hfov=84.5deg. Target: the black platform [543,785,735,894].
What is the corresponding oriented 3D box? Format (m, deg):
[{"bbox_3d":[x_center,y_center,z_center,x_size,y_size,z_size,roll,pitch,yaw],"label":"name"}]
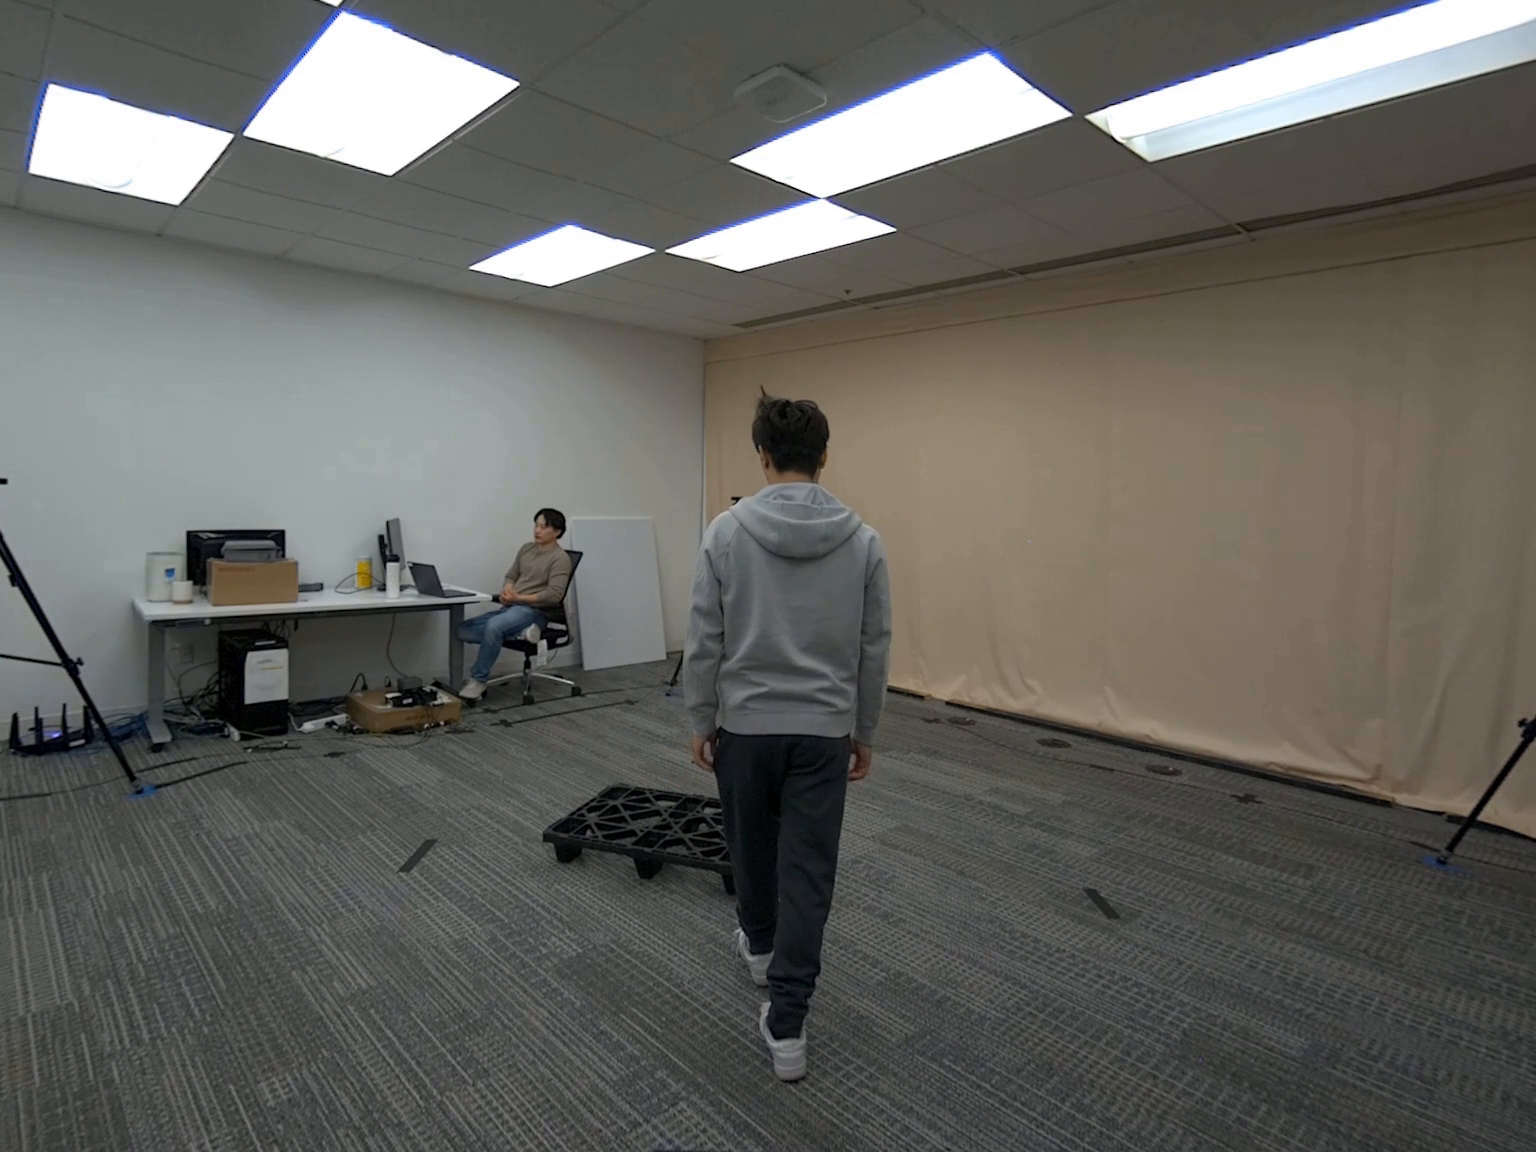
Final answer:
[{"bbox_3d":[-0.384,1.017,3.282,0.818,0.143,0.598,3,6,18],"label":"black platform"}]
